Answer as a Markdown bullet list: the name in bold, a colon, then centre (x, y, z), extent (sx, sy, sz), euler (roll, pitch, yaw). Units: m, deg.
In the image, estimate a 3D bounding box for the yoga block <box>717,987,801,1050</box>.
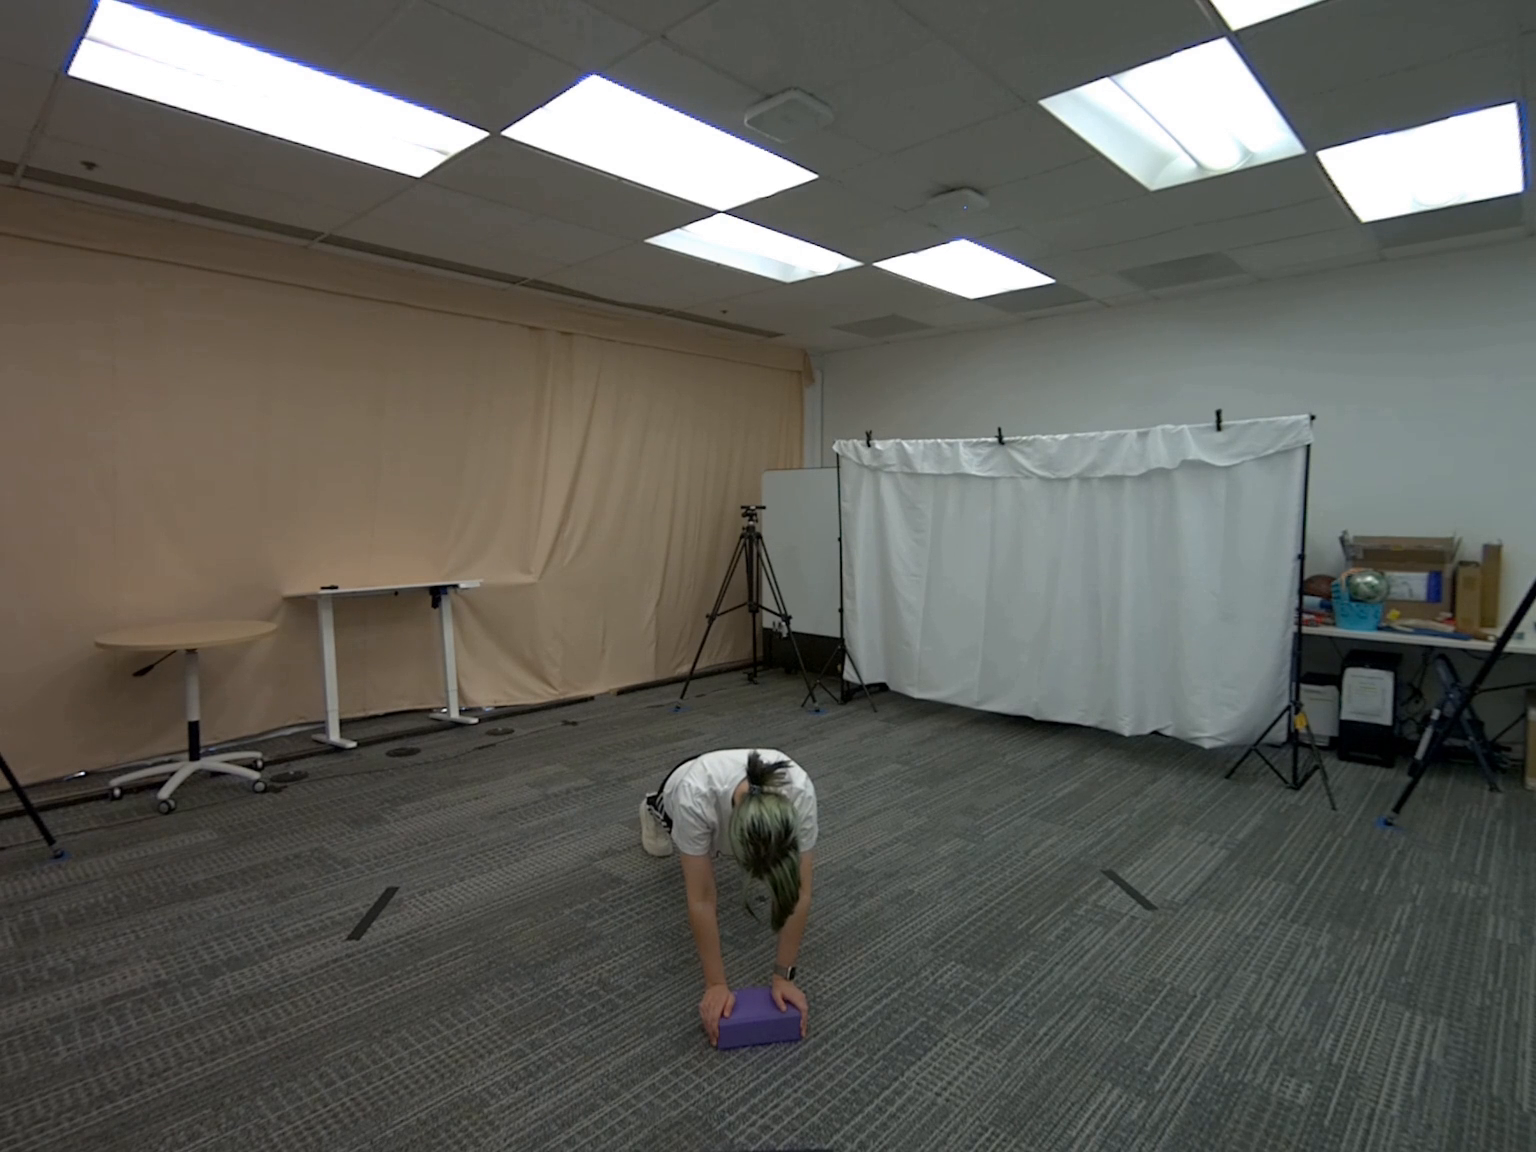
- **yoga block**: centre (-0.039, 1.169, 2.242), extent (0.227, 0.076, 0.151), euler (0, 5, -11)
